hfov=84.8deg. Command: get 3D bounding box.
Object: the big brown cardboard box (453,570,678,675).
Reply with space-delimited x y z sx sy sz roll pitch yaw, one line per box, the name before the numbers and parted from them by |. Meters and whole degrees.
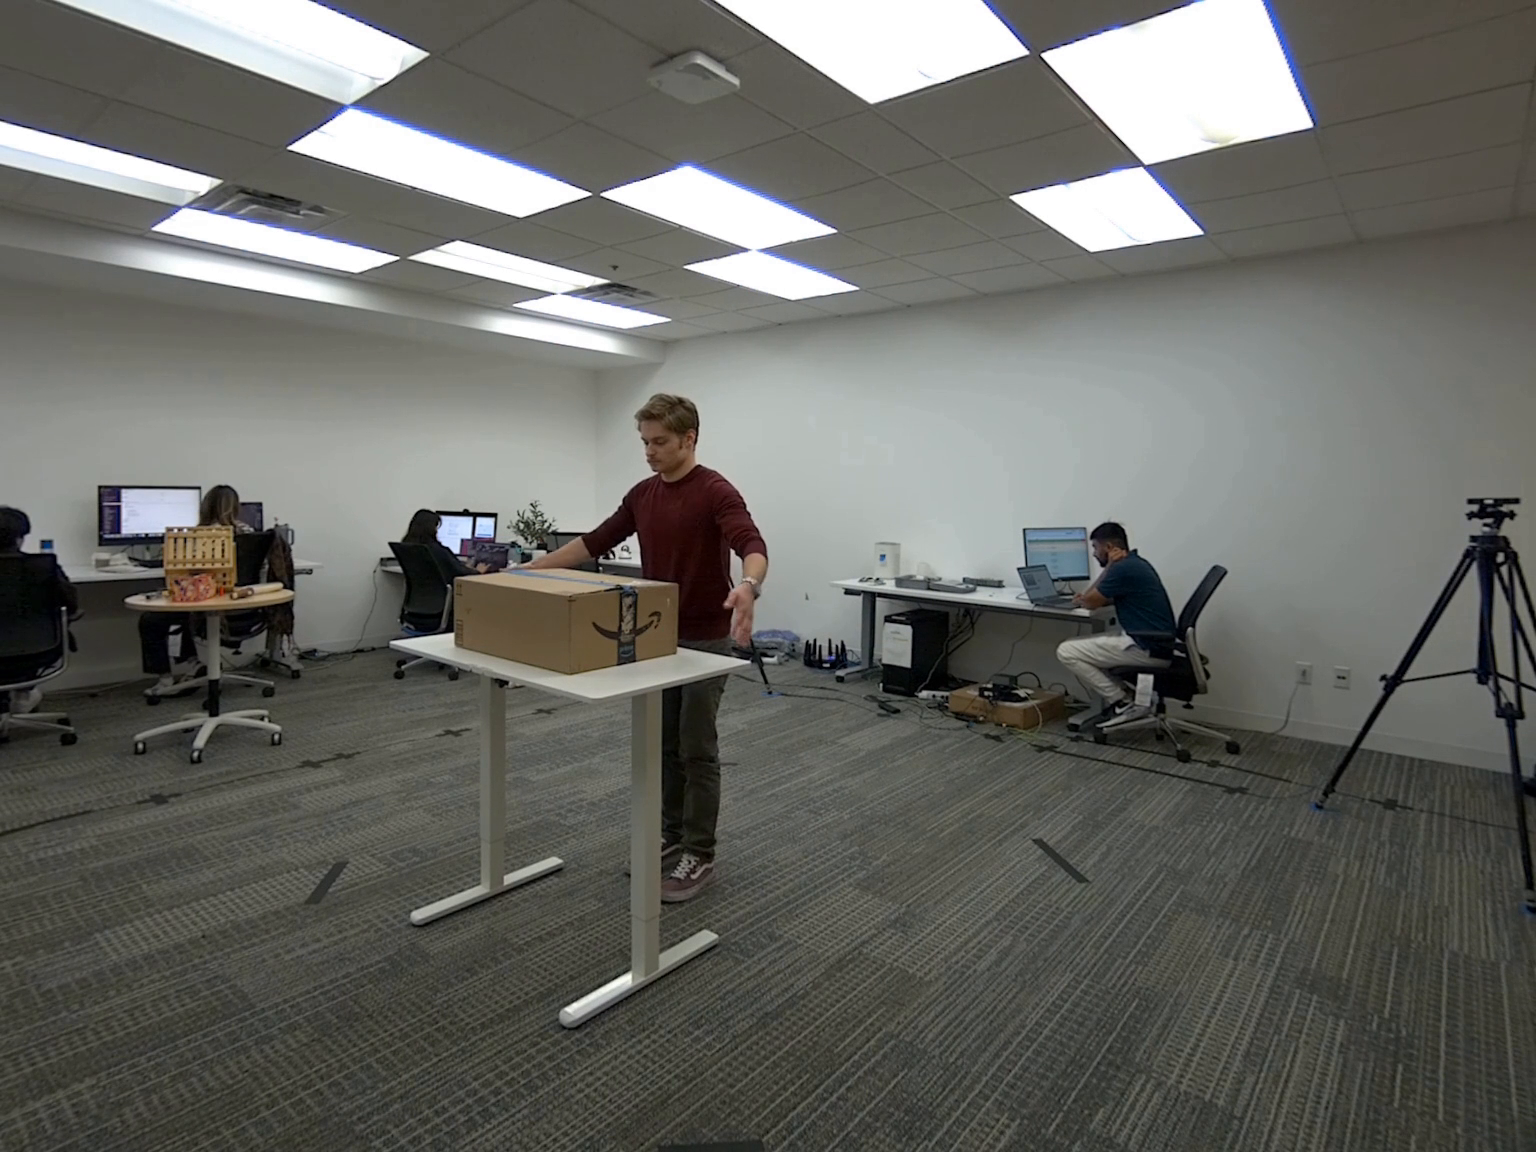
big brown cardboard box | -0.631 0.117 2.606 0.609 0.232 0.405 5 7 41
